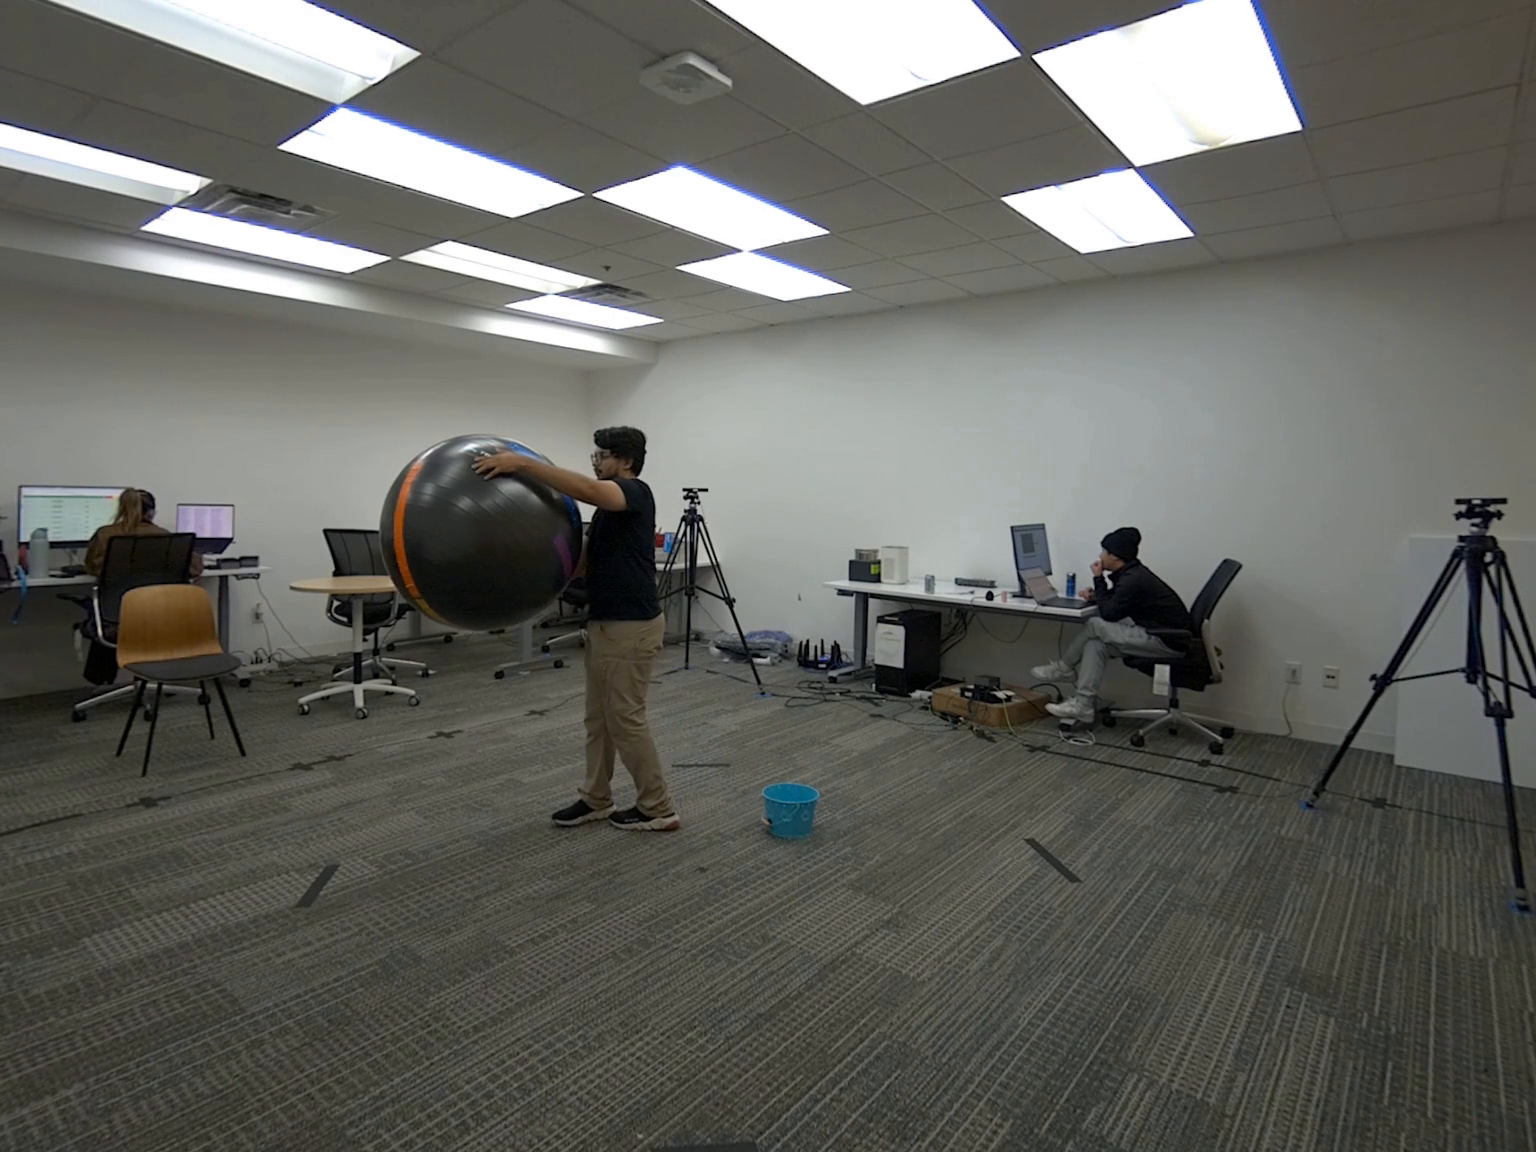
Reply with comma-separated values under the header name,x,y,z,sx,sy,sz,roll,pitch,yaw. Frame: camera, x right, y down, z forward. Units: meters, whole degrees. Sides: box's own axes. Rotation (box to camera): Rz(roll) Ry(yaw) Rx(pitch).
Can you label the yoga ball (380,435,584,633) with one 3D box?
name,x,y,z,sx,sy,sz,roll,pitch,yaw
yoga ball,-1.113,-0.163,3.289,0.757,0.755,0.762,1,4,-2
